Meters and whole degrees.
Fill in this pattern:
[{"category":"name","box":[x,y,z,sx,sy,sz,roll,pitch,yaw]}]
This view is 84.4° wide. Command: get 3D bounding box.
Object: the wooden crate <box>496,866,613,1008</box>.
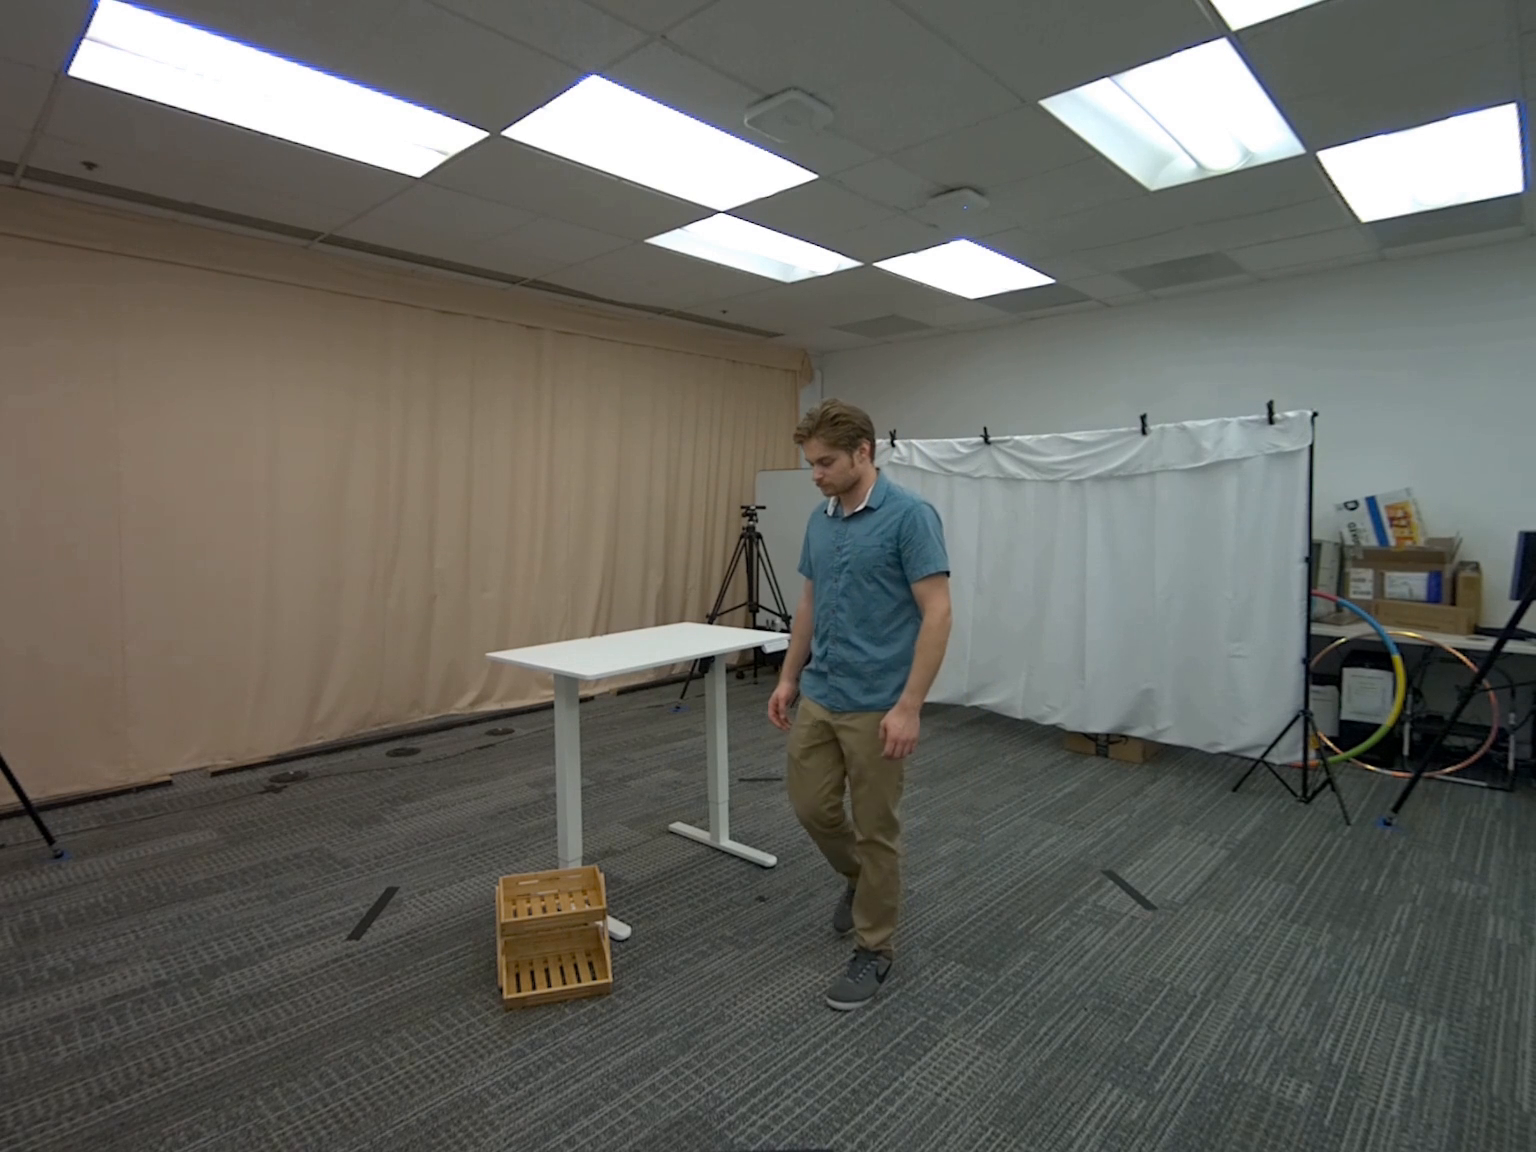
[{"category":"wooden crate","box":[-0.632,1.056,2.480,0.318,0.273,0.308,-1,3,-19]}]
